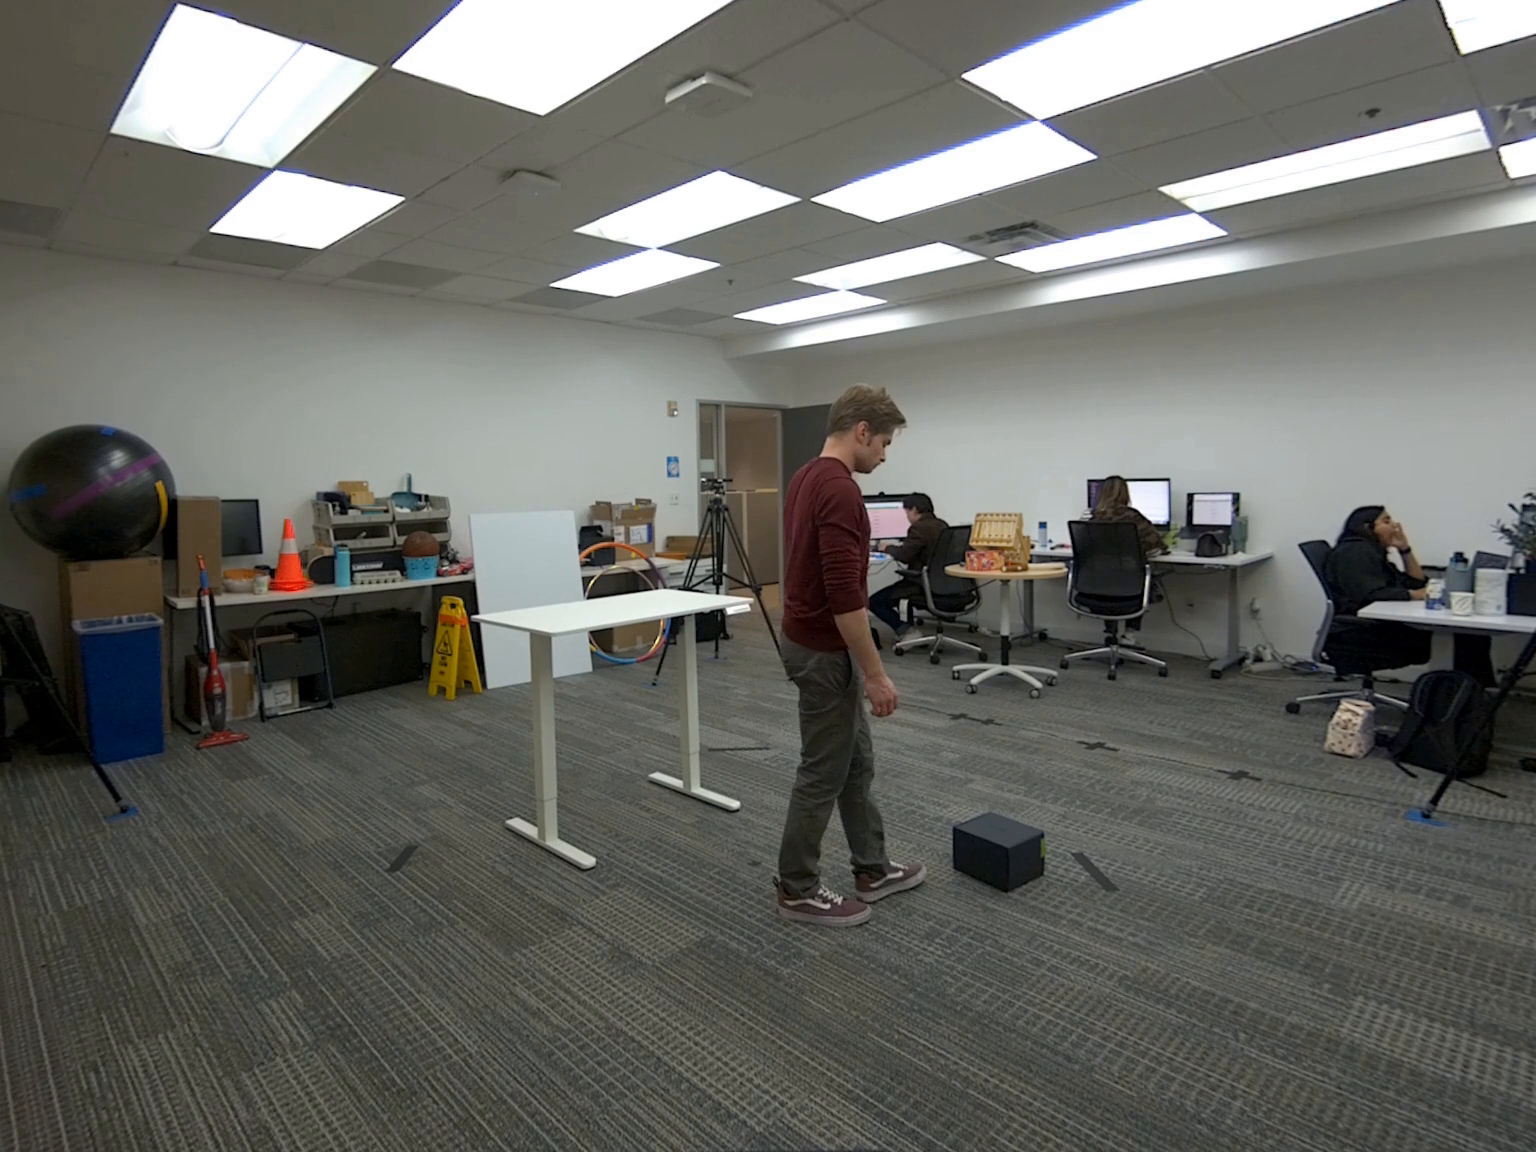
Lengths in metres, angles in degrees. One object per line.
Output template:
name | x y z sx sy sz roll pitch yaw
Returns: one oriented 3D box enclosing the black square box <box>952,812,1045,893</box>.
black square box | 0.811 0.958 2.998 0.211 0.155 0.235 -5 7 -38
